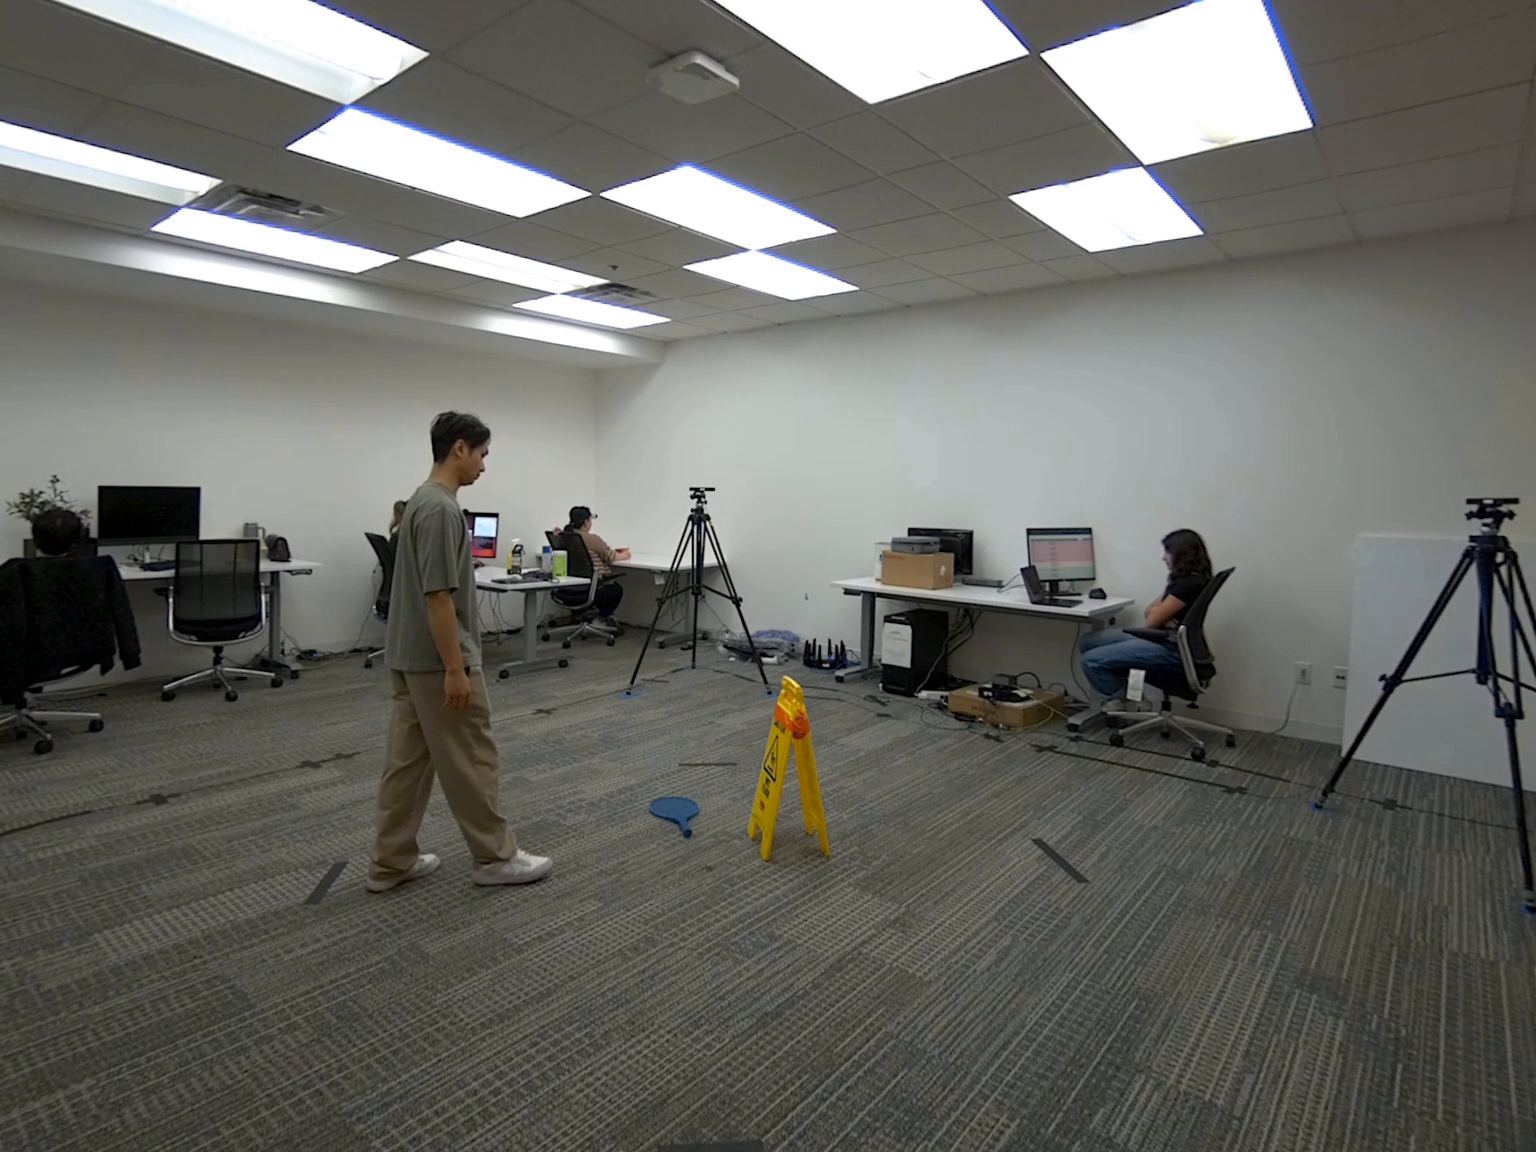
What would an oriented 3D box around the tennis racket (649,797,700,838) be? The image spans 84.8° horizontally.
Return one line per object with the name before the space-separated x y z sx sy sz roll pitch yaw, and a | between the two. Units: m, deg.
tennis racket | -0.391 0.999 3.591 0.210 0.031 0.441 -1 4 -16
